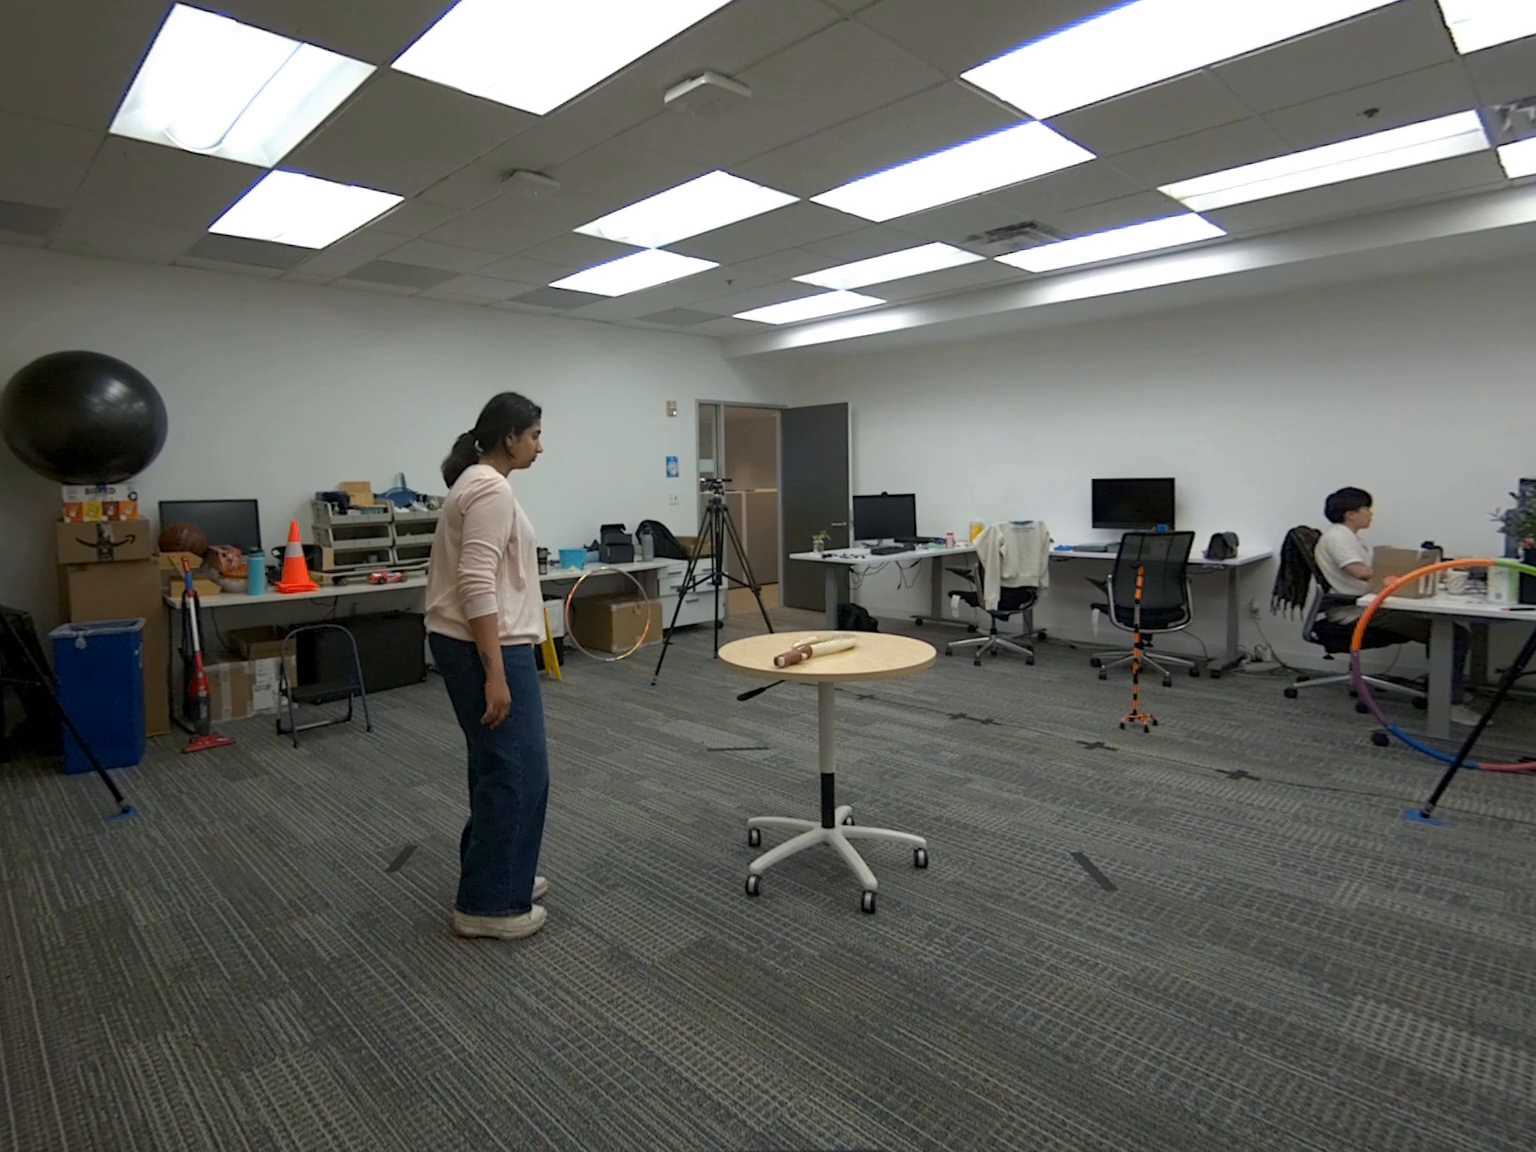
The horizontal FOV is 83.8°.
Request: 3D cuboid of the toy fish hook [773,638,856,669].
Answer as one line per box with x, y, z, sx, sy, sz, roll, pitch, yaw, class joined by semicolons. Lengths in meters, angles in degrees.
0.132;0.256;2.980;0.230;0.048;0.494;-7;1;37;toy fish hook
